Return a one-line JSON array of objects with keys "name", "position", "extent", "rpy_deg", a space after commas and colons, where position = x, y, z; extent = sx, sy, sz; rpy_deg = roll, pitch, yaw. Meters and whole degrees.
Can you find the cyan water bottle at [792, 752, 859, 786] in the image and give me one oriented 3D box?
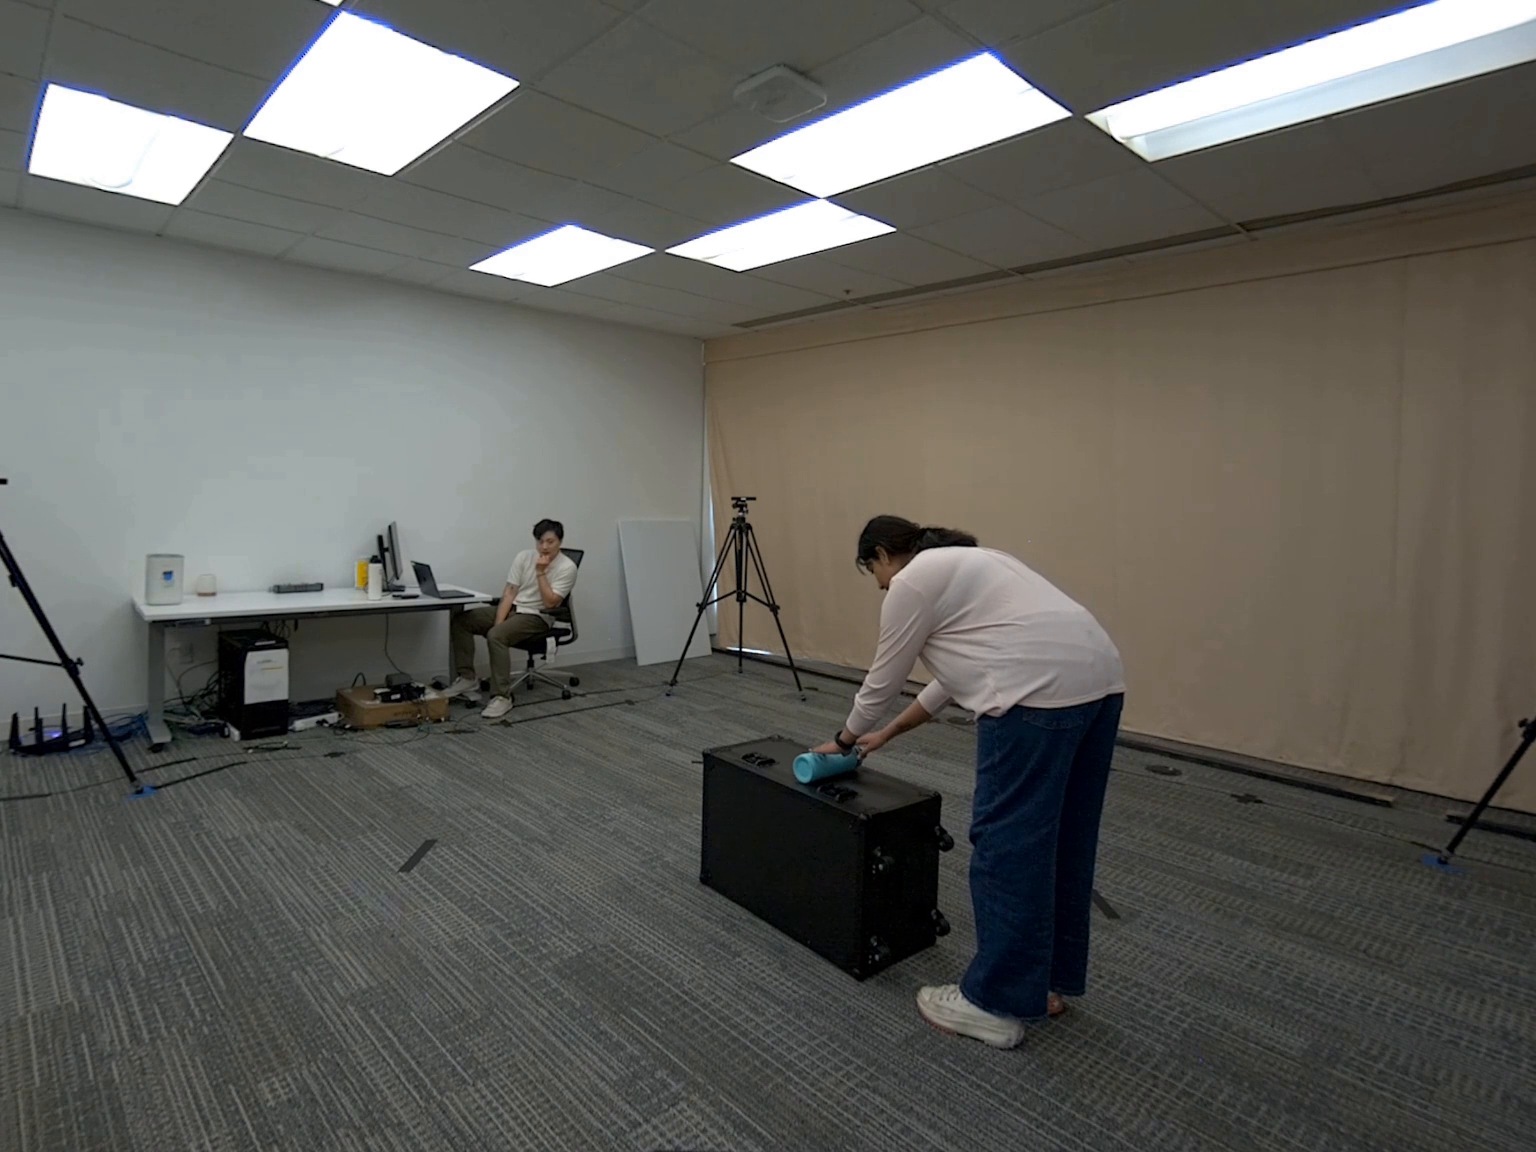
[{"name": "cyan water bottle", "position": [0.207, 0.611, 2.786], "extent": [0.277, 0.092, 0.095], "rpy_deg": [-3, 6, -44]}]
